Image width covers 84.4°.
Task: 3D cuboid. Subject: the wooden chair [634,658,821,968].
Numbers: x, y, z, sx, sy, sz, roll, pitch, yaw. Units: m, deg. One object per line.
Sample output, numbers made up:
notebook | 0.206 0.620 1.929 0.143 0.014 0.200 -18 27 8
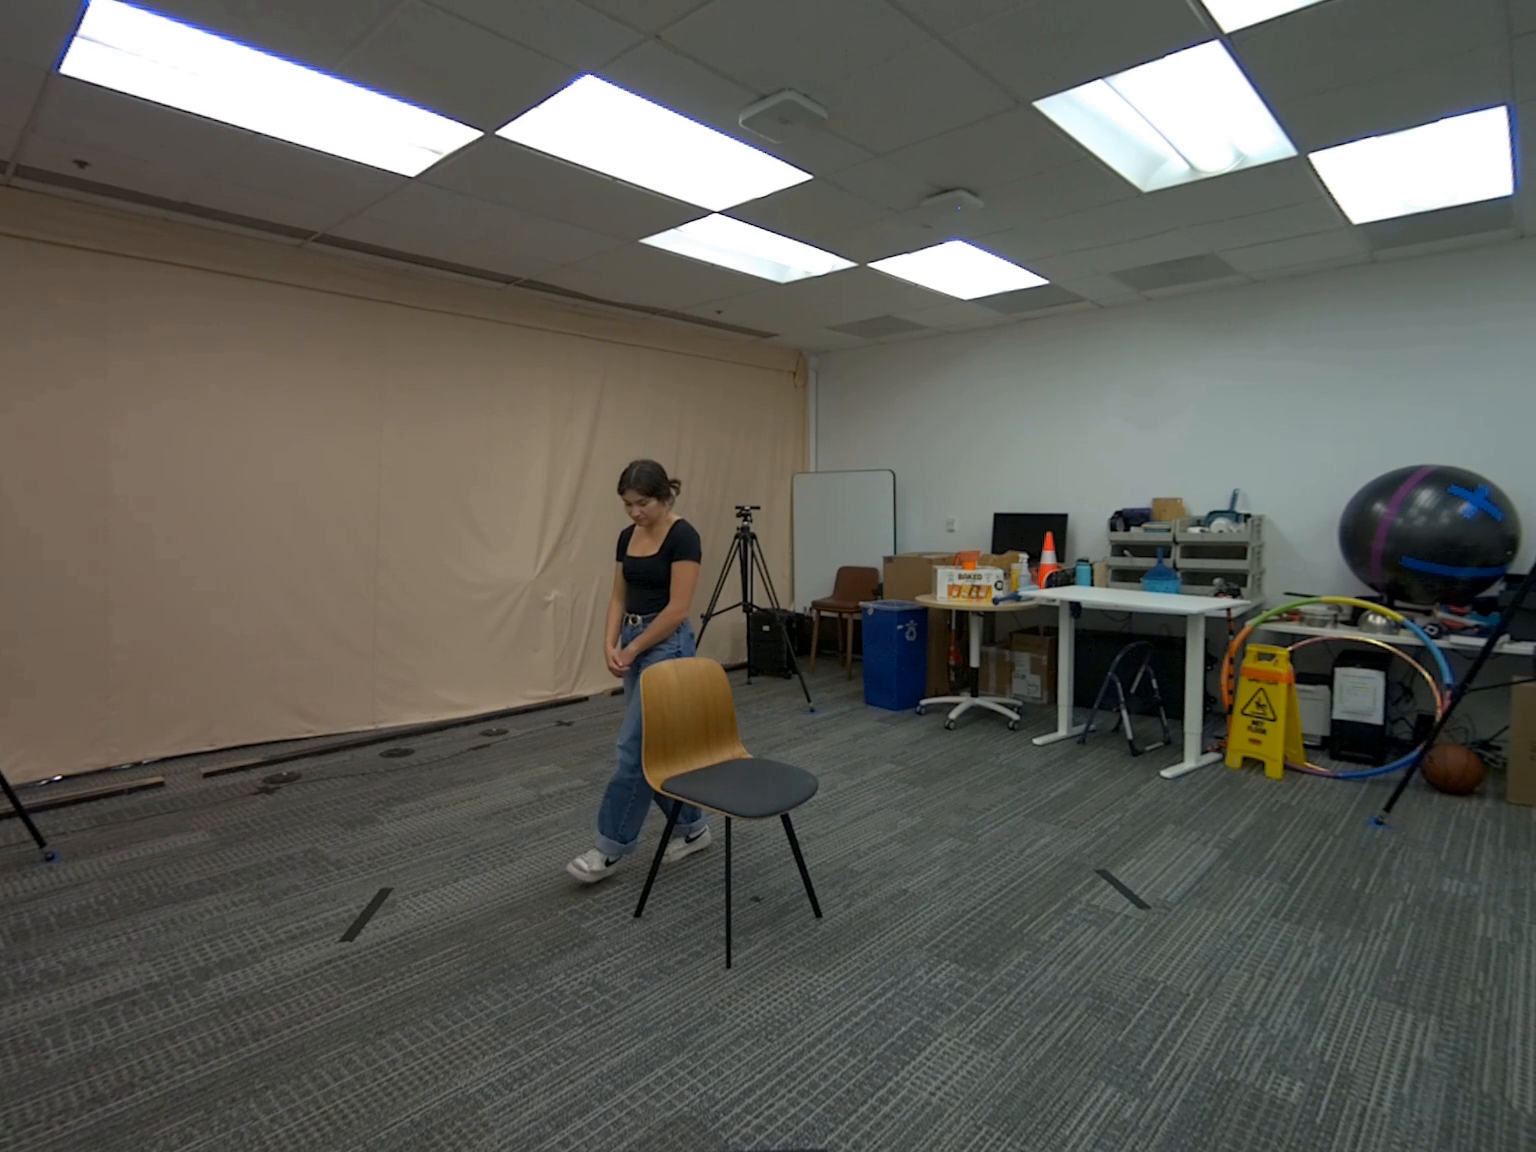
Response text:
wooden chair | -0.127 0.733 2.814 0.539 0.877 0.463 -3 0 43
